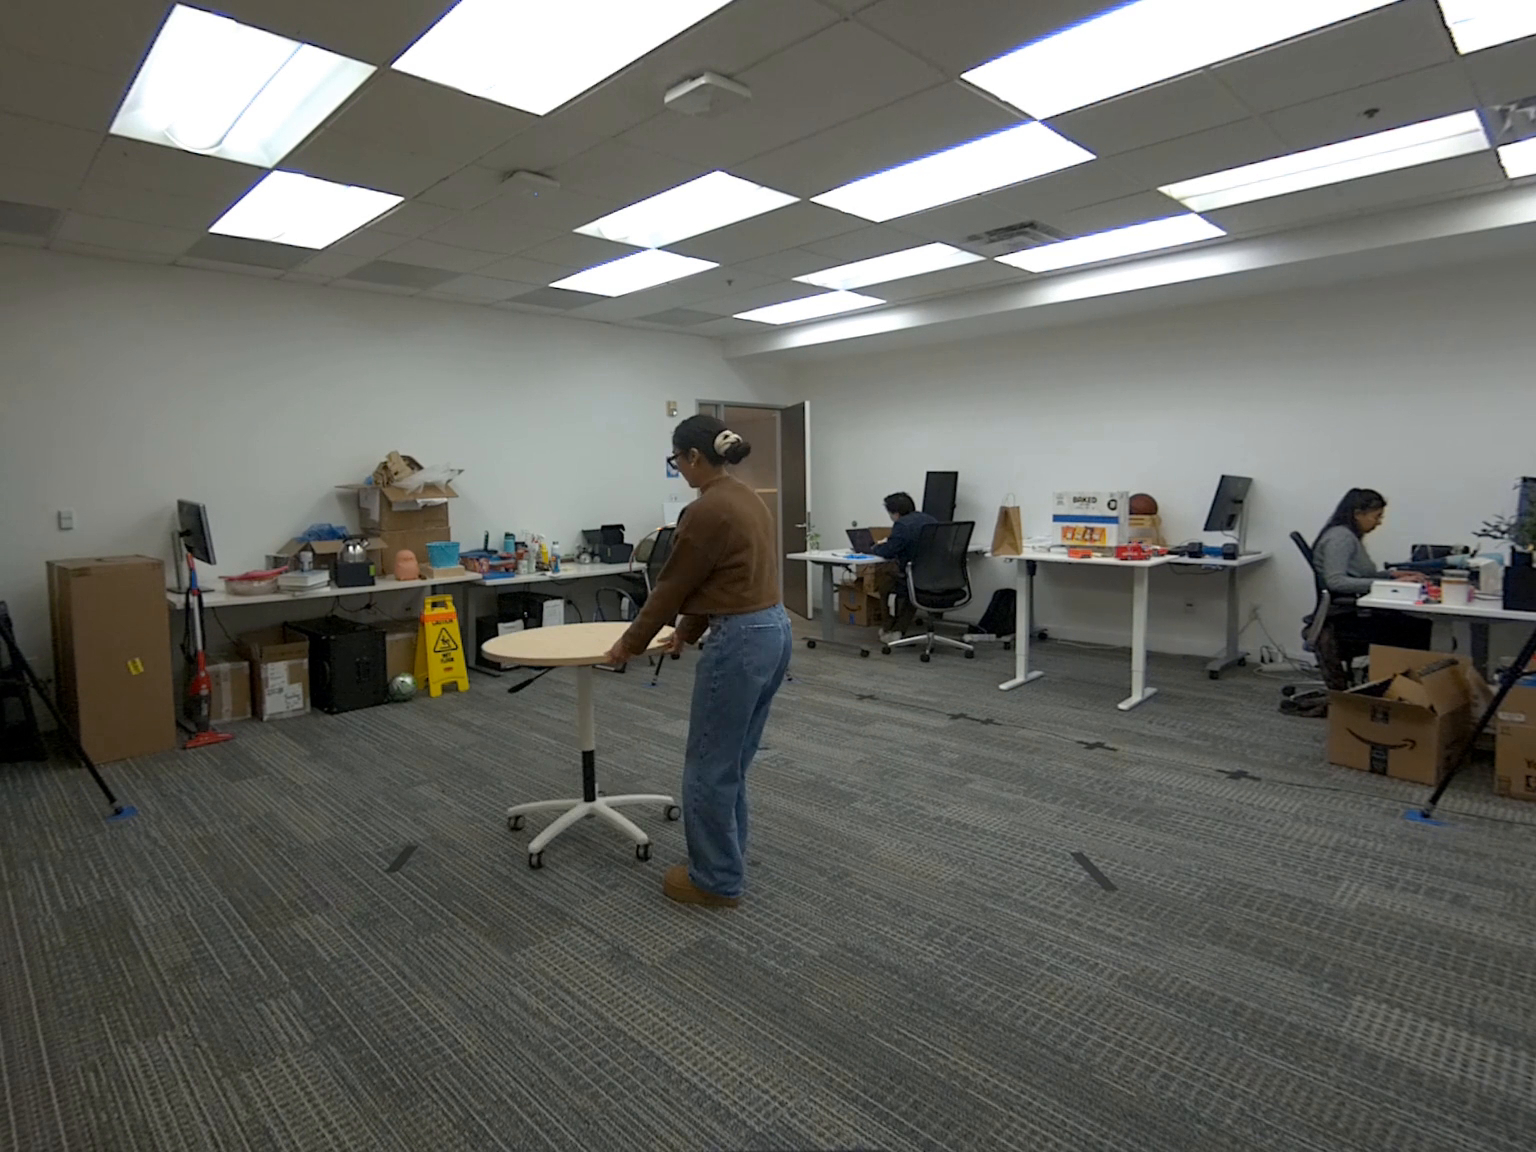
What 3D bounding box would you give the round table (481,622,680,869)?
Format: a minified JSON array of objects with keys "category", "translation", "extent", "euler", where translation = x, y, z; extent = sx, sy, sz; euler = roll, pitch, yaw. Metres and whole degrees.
[{"category":"round table","translation":[-0.672,0.633,3.356],"extent":[0.785,0.783,0.789],"euler":[-2,5,-1]}]
